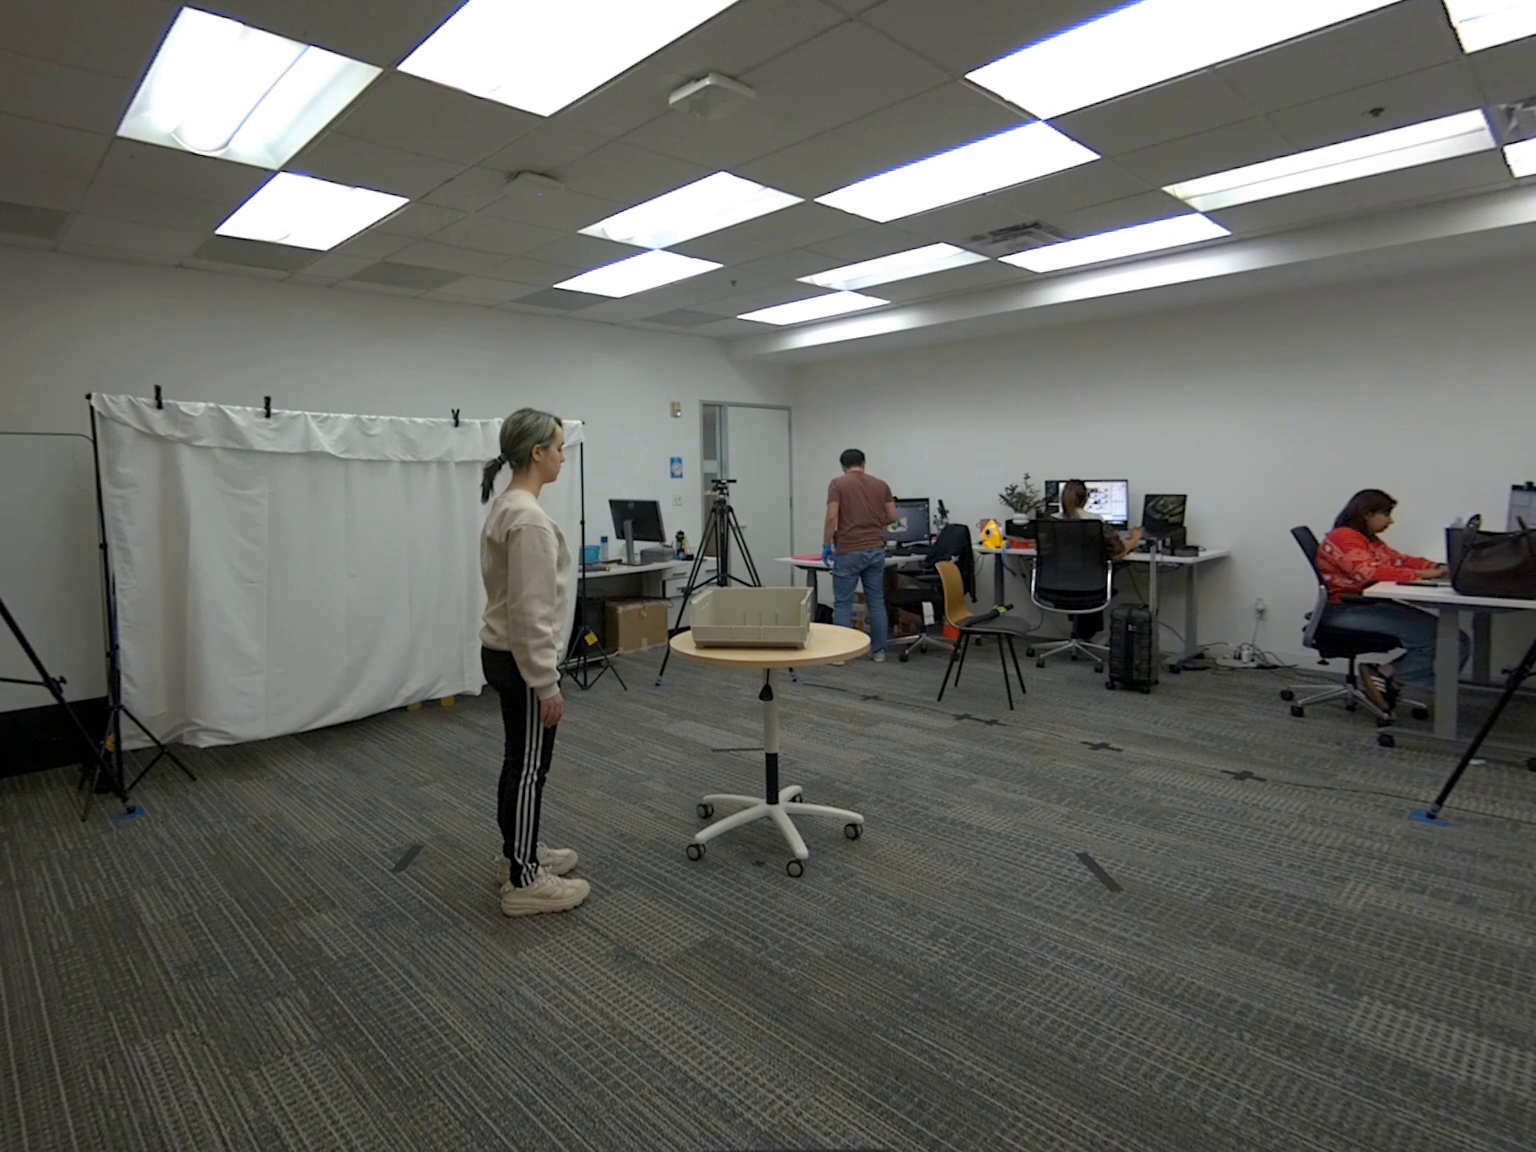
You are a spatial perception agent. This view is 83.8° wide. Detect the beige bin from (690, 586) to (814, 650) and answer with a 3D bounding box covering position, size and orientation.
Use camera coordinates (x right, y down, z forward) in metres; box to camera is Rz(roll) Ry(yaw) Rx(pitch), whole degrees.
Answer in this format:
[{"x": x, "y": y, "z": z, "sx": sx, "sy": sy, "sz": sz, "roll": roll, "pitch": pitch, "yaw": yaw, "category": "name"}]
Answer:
[{"x": -0.051, "y": 0.155, "z": 3.238, "sx": 0.426, "sy": 0.188, "sz": 0.375, "roll": -1, "pitch": 4, "yaw": 9, "category": "beige bin"}]
